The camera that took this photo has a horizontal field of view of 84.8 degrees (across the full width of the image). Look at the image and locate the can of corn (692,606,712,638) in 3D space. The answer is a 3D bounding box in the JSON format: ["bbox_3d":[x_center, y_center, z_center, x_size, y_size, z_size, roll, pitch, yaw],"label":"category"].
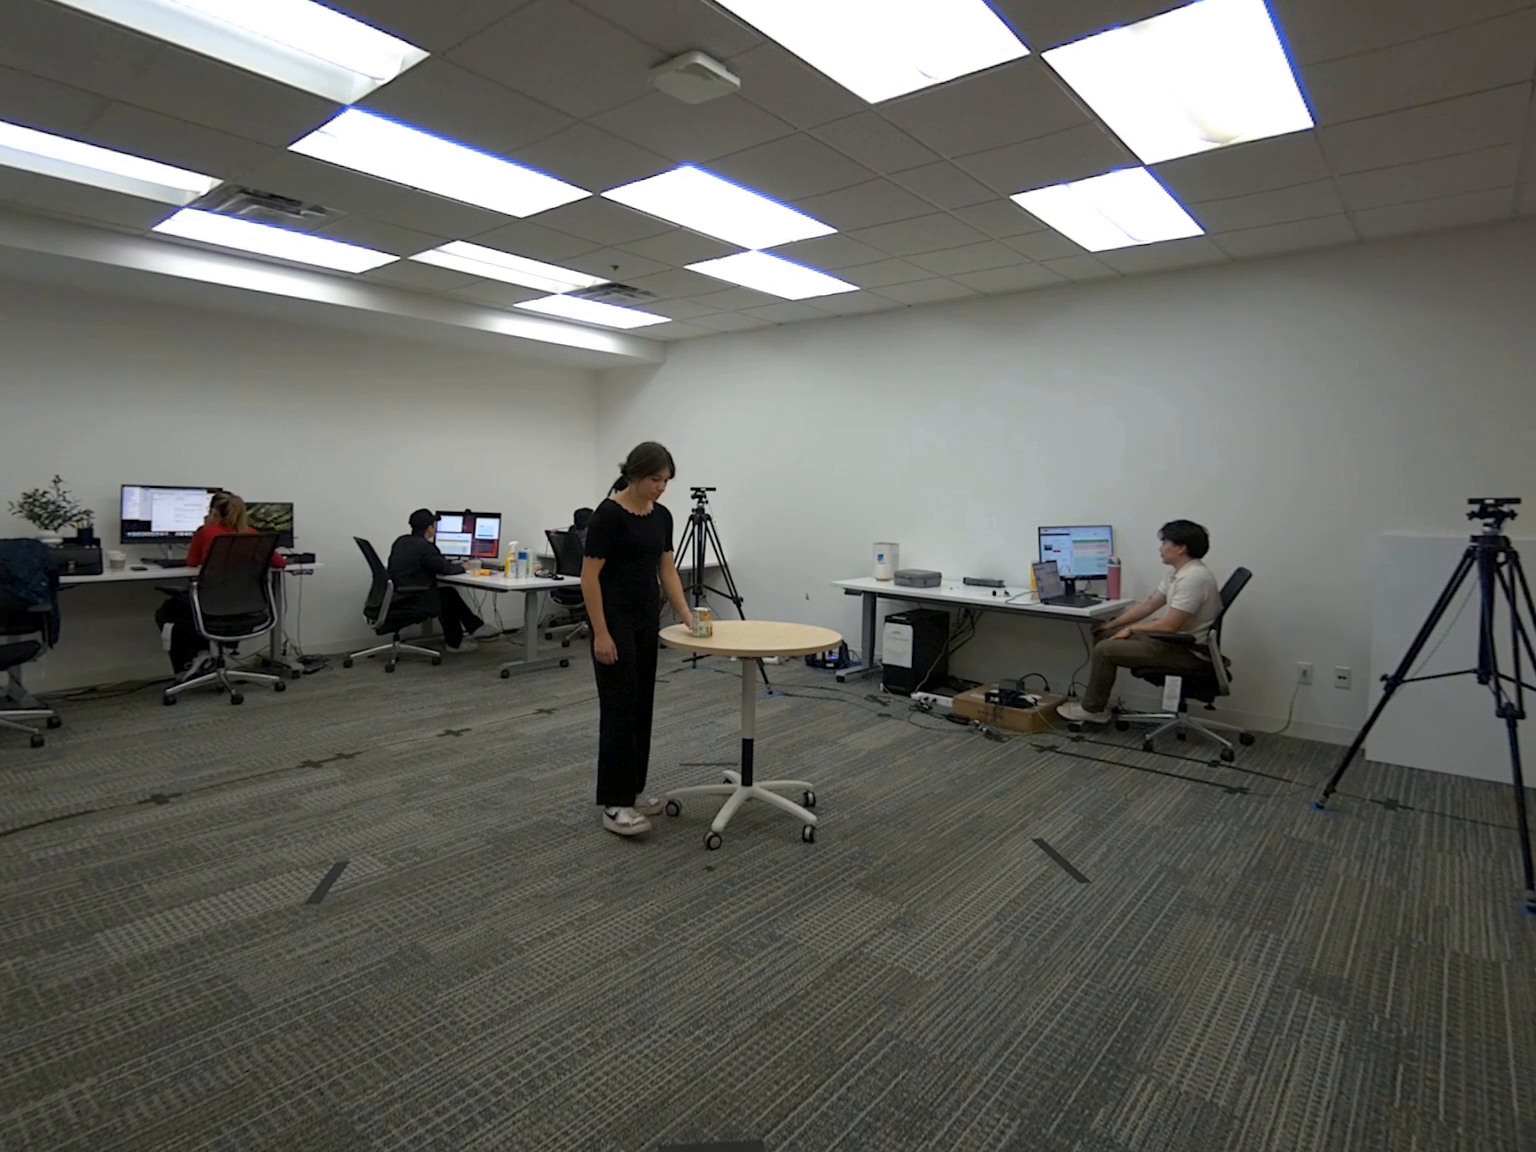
[{"bbox_3d":[-0.284,0.189,3.479,0.074,0.111,0.074,1,1,-2],"label":"can of corn"}]
